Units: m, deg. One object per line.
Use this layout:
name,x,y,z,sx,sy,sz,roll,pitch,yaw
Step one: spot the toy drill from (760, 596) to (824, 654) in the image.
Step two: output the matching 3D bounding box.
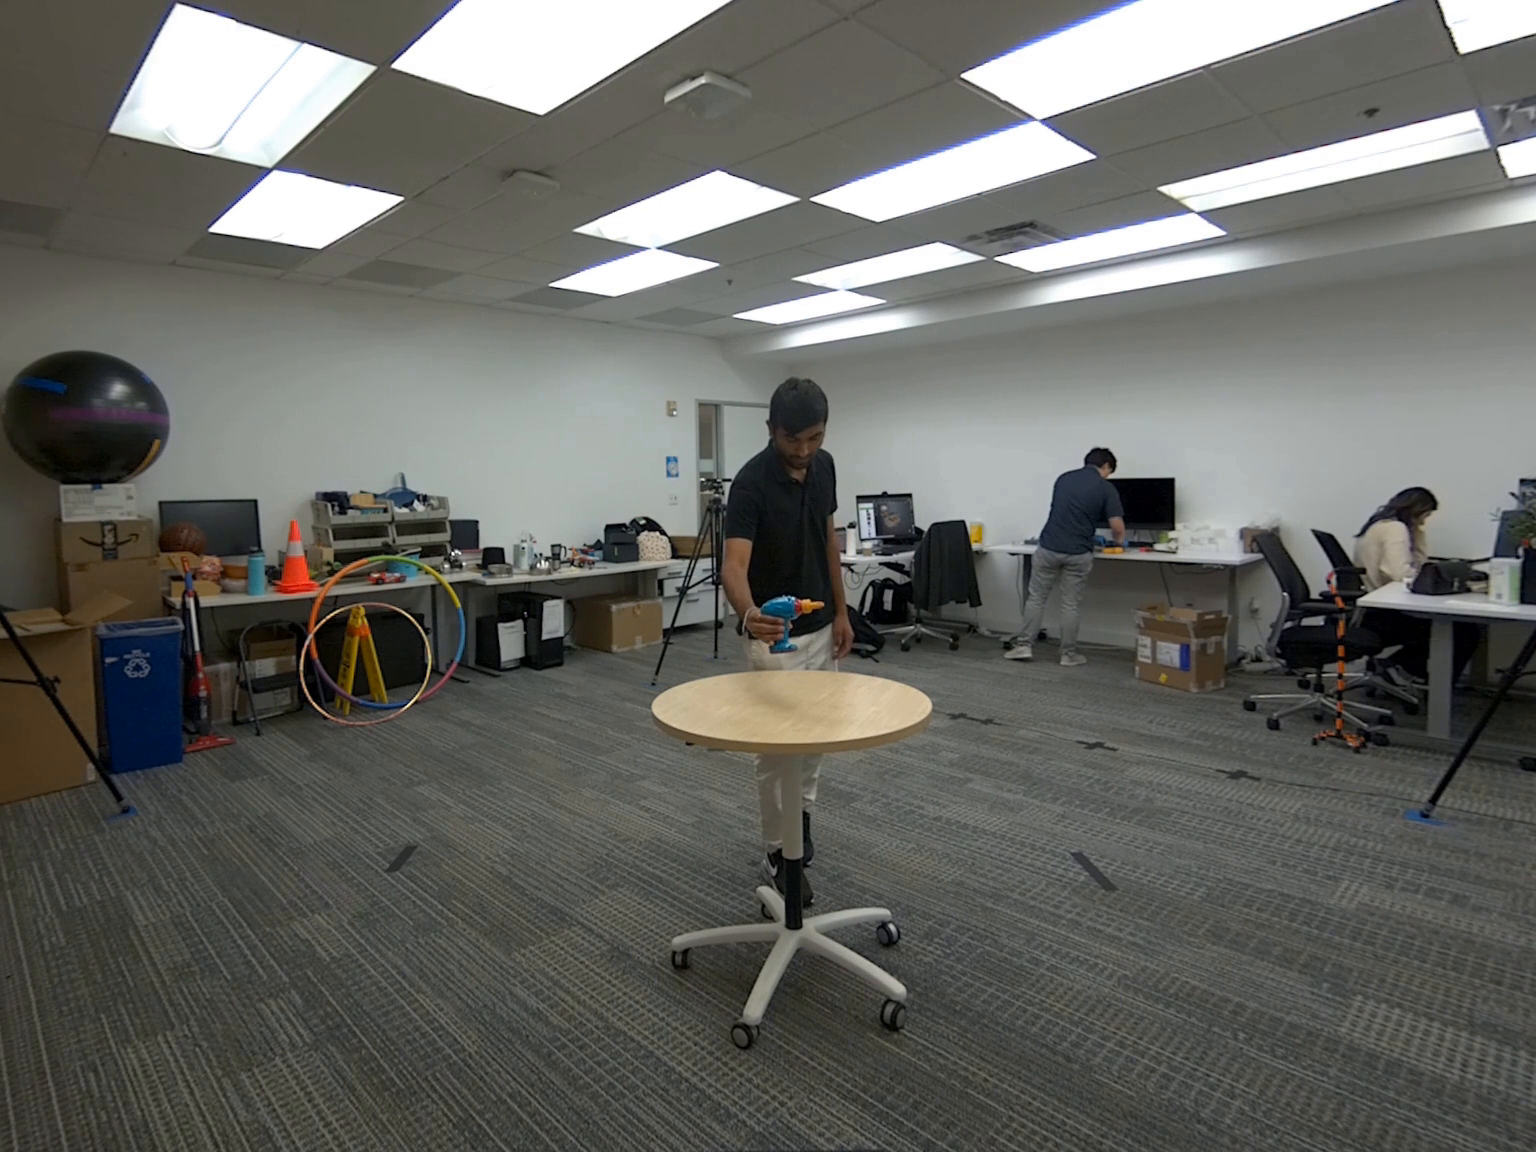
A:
toy drill,0.070,0.121,2.209,0.172,0.146,0.060,-5,0,17
